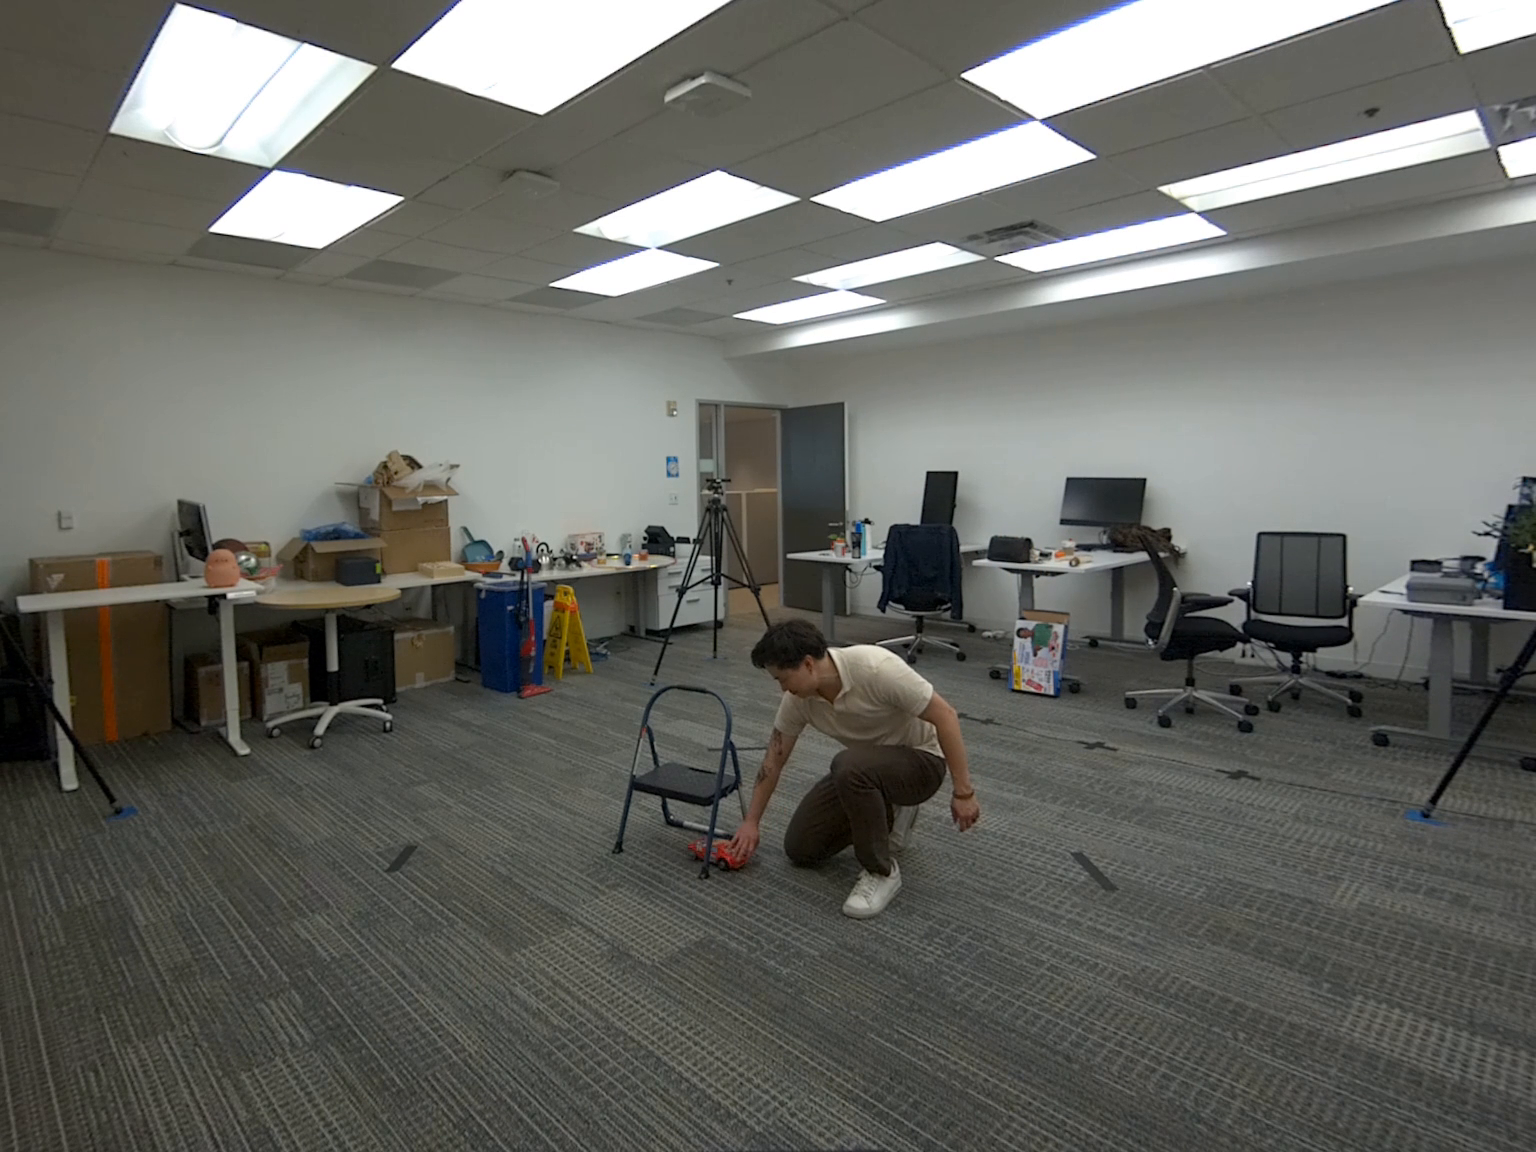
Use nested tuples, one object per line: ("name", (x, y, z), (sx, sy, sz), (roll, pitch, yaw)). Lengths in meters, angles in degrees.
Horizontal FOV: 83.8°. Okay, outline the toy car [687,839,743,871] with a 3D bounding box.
("toy car", (-0.176, 1.016, 3.127), (0.260, 0.083, 0.127), (-9, 0, 34))
